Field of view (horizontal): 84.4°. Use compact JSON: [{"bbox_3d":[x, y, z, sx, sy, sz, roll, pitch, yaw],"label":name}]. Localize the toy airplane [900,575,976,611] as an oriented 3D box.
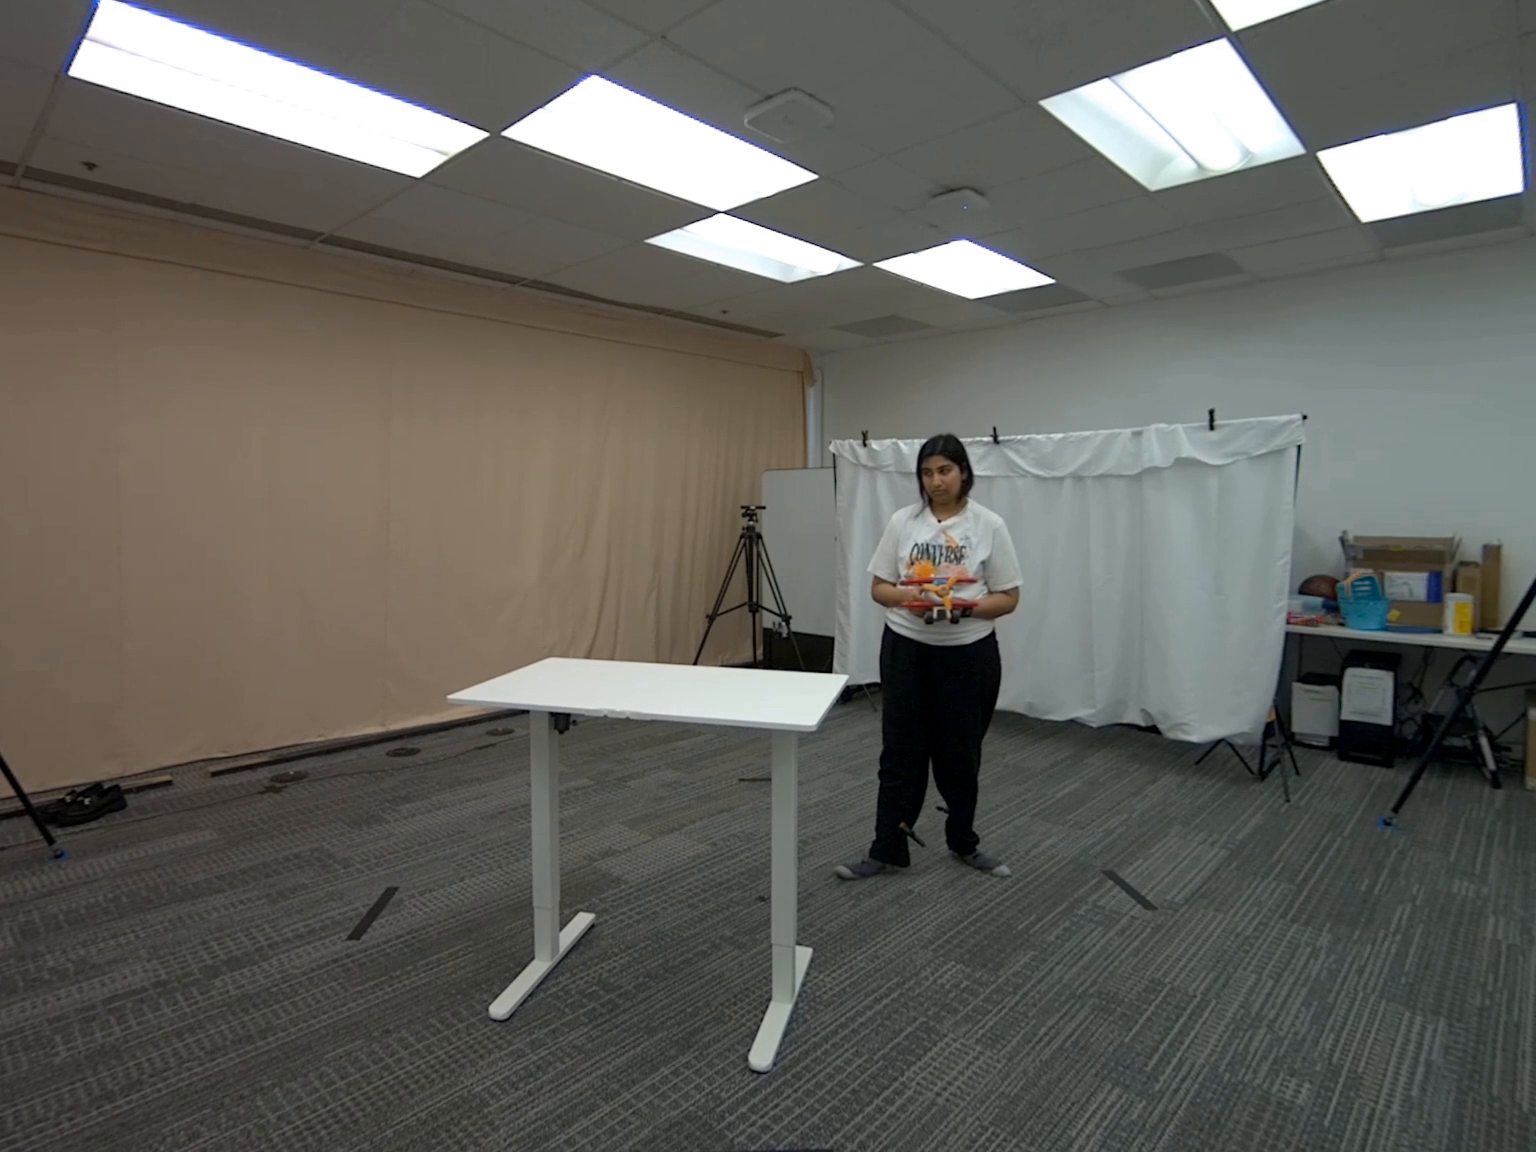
[{"bbox_3d":[0.553,0.076,2.882,0.245,0.156,0.266,-4,6,-28],"label":"toy airplane"}]
